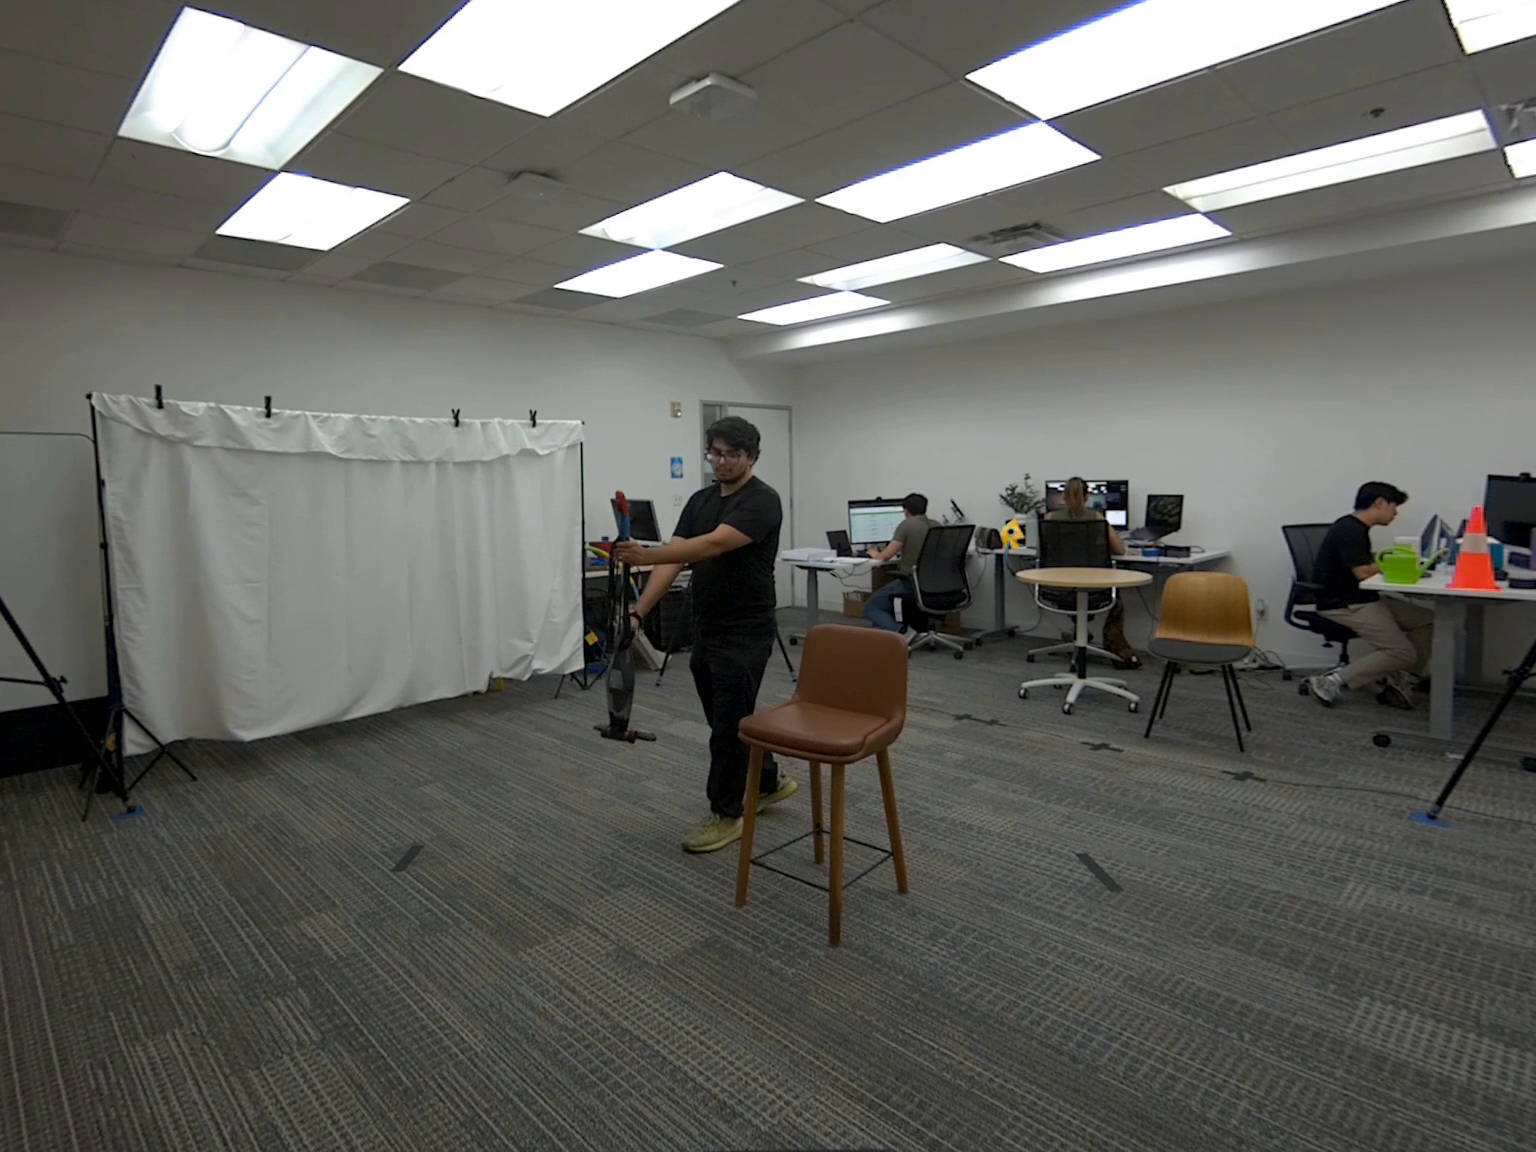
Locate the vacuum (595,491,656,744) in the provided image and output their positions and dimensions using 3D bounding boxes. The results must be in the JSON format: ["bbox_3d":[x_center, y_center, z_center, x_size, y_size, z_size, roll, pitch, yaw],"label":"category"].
[{"bbox_3d":[-0.535,0.173,3.094,0.256,1.027,0.145,11,29,13],"label":"vacuum"}]
